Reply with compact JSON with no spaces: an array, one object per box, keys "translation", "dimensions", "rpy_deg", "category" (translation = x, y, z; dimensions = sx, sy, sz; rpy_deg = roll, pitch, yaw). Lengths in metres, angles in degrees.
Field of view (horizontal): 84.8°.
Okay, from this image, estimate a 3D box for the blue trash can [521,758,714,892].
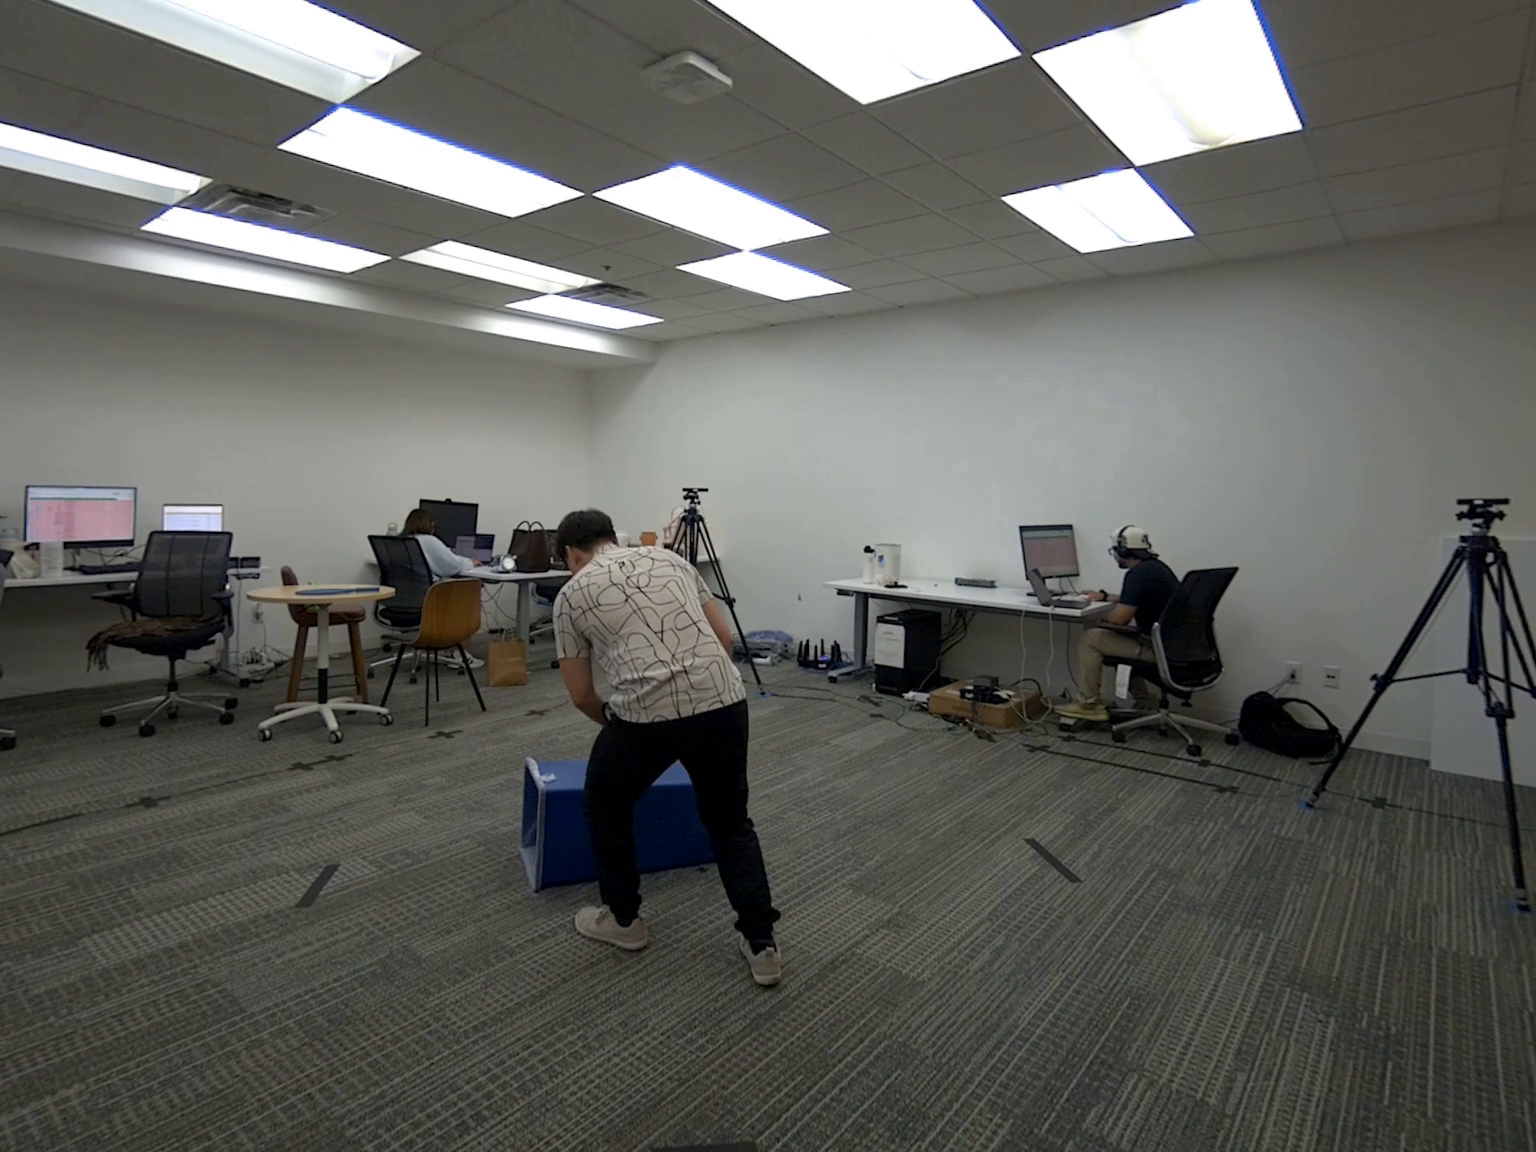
[{"translation":[-0.546,0.889,3.173],"dimensions":[0.698,0.373,0.388],"rpy_deg":[3,4,-22],"category":"blue trash can"}]
